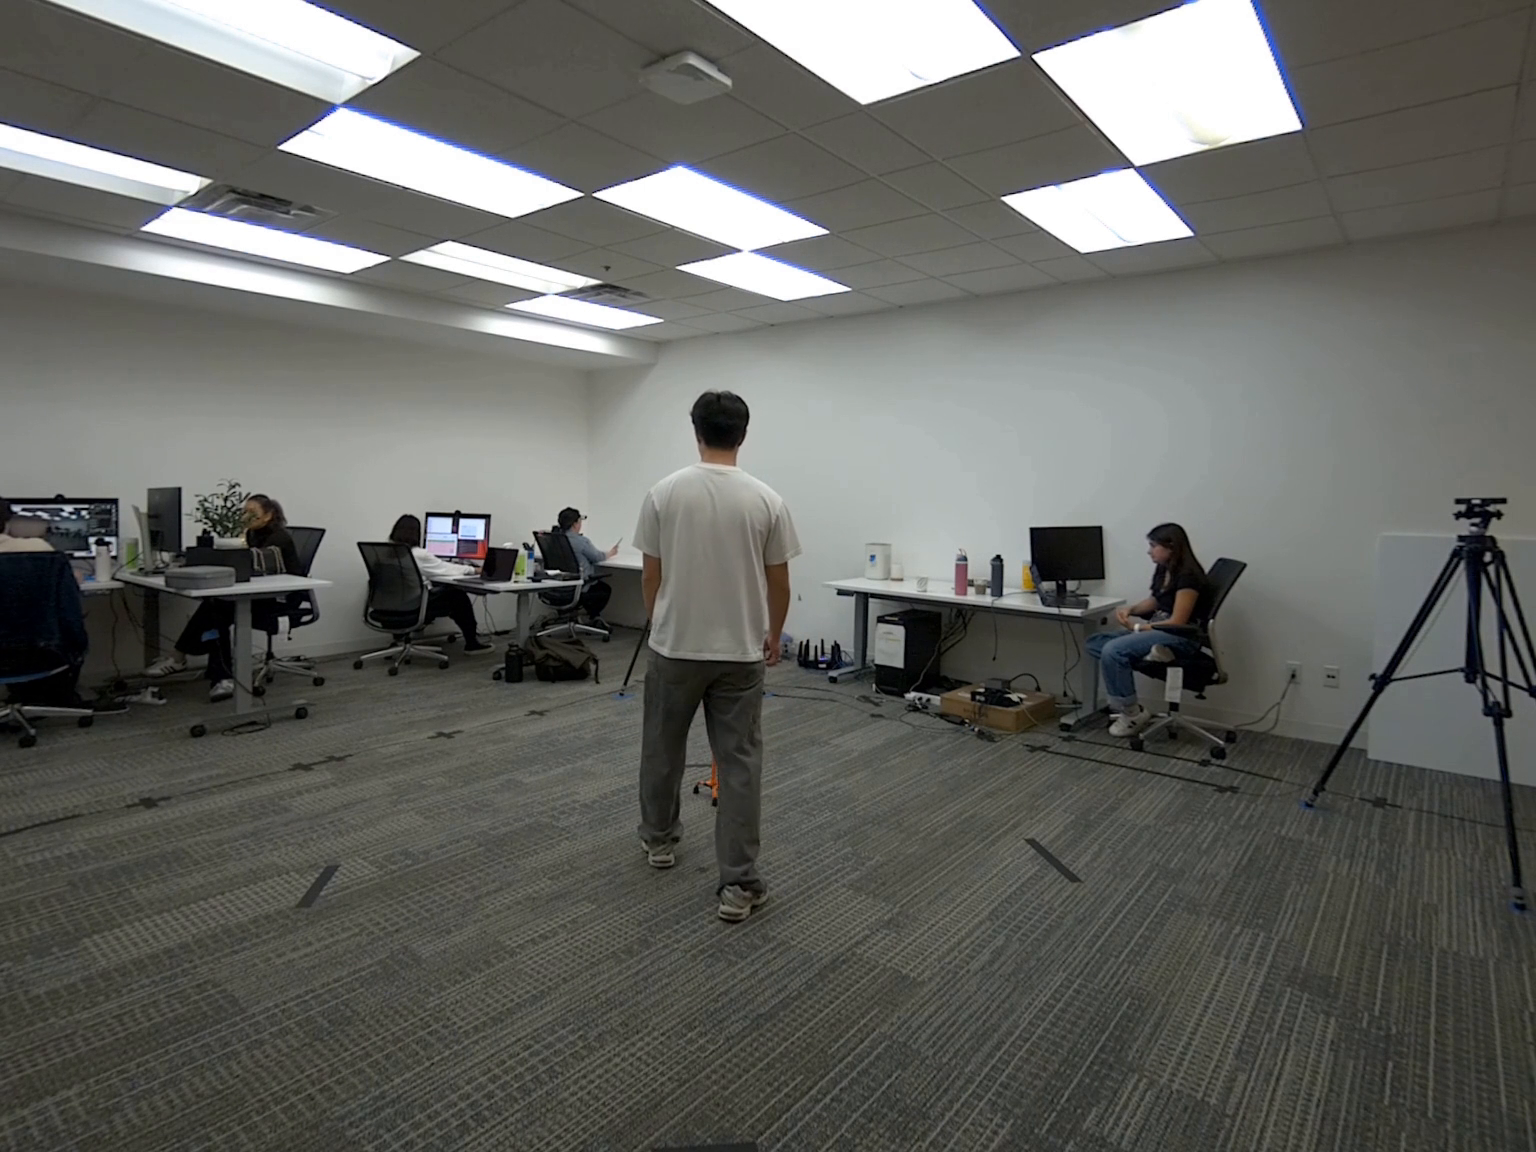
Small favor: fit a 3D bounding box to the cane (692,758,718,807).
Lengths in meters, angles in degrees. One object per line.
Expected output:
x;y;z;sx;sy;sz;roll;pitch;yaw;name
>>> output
-0.210;0.534;3.833;0.147;0.906;0.213;-1;3;-32;cane
